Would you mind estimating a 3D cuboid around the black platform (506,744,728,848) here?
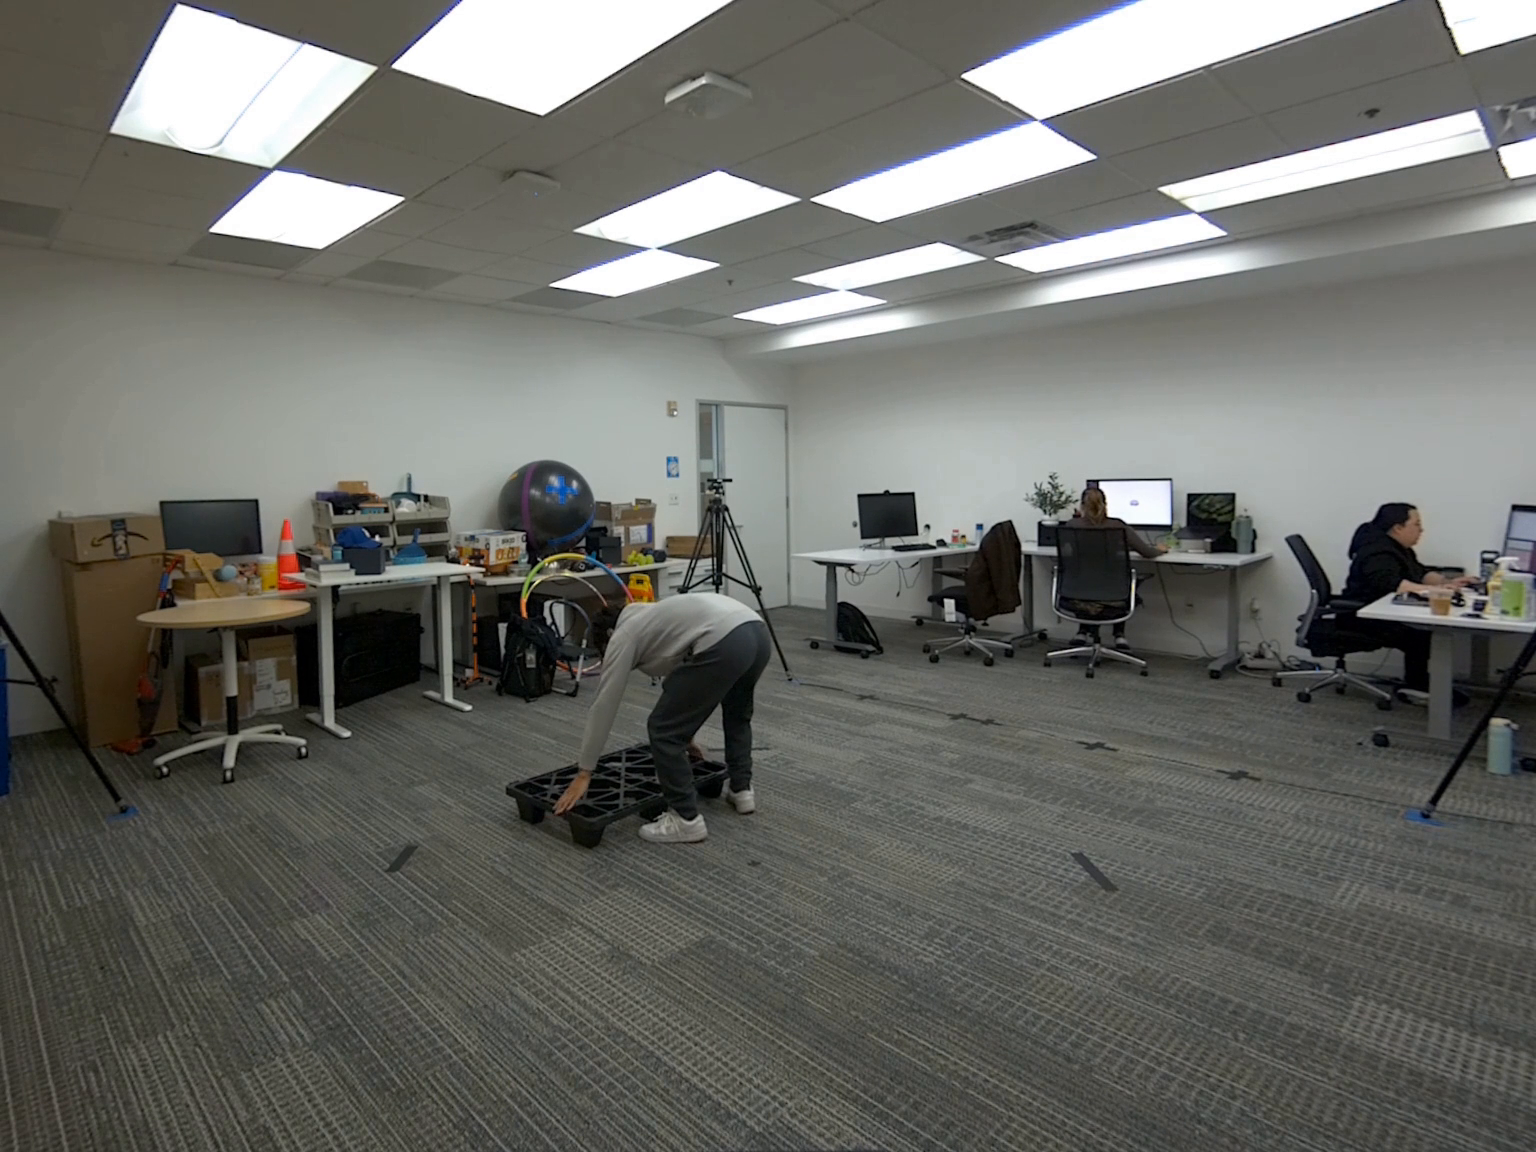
[{"bbox_3d":[-0.616,0.926,3.670,0.624,0.142,0.785,4,9,41],"label":"black platform"}]
